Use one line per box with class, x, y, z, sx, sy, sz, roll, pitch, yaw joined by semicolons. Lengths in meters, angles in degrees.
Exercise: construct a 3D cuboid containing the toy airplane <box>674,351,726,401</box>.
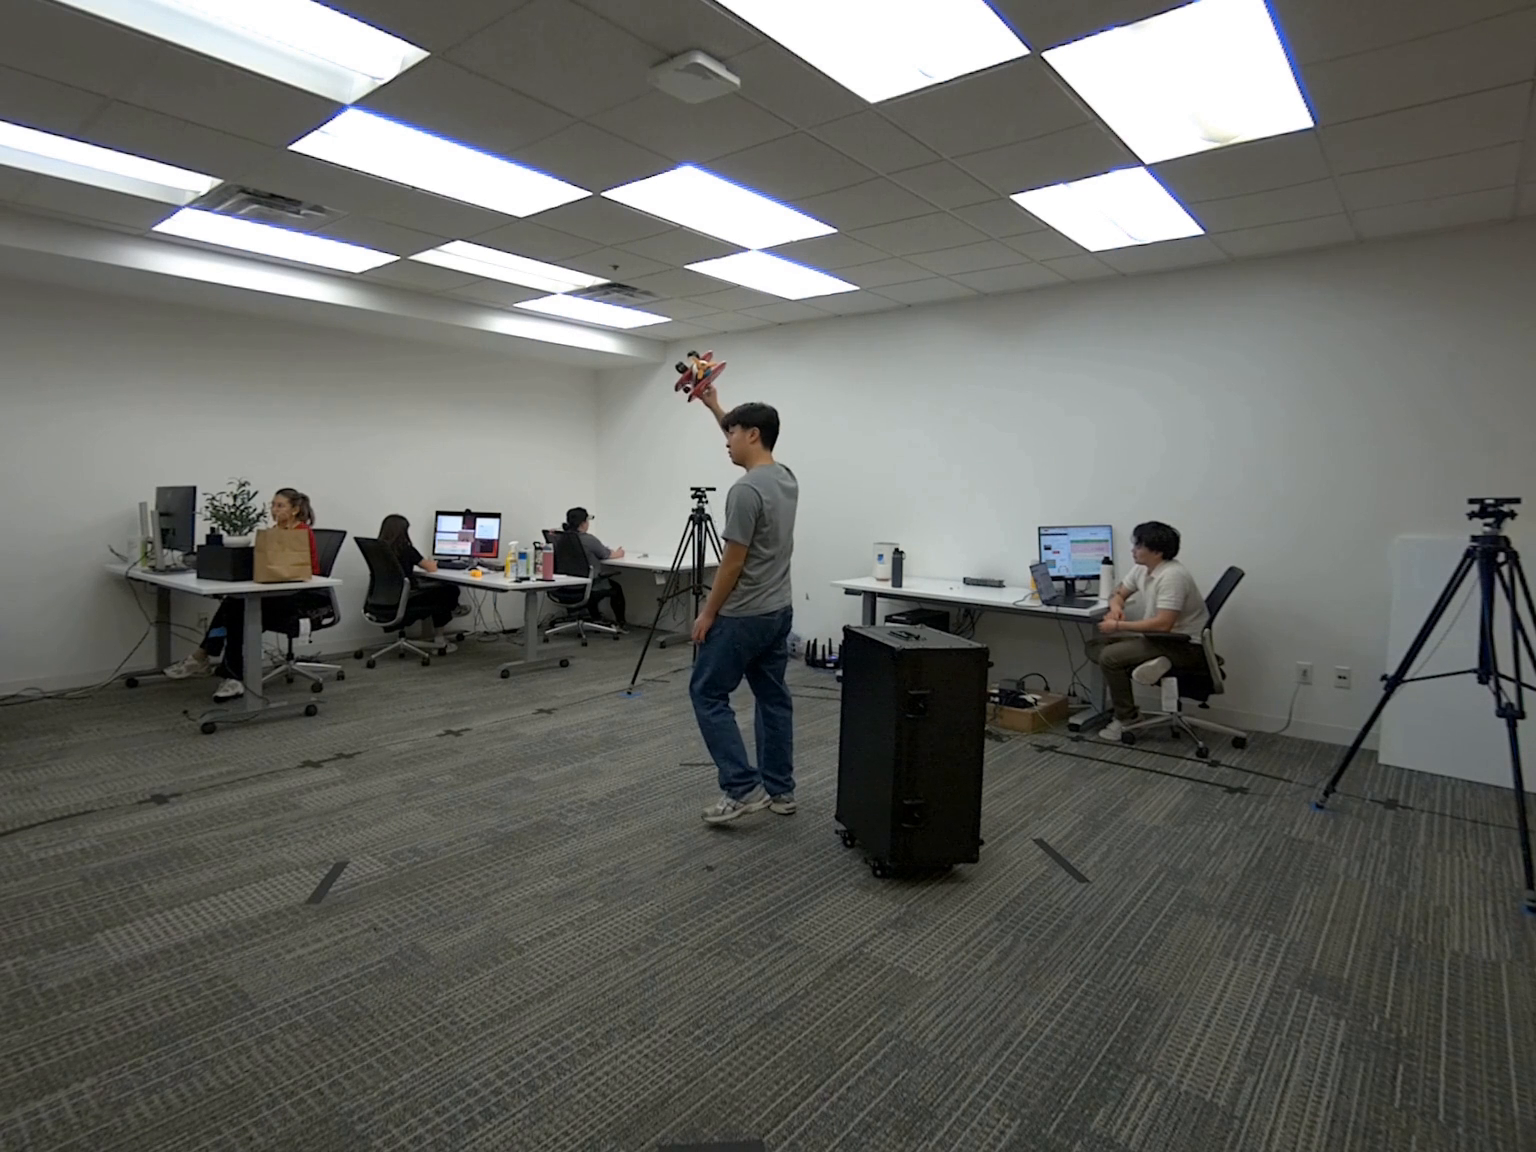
toy airplane;-0.320;-0.893;3.819;0.161;0.251;0.253;35;5;18
